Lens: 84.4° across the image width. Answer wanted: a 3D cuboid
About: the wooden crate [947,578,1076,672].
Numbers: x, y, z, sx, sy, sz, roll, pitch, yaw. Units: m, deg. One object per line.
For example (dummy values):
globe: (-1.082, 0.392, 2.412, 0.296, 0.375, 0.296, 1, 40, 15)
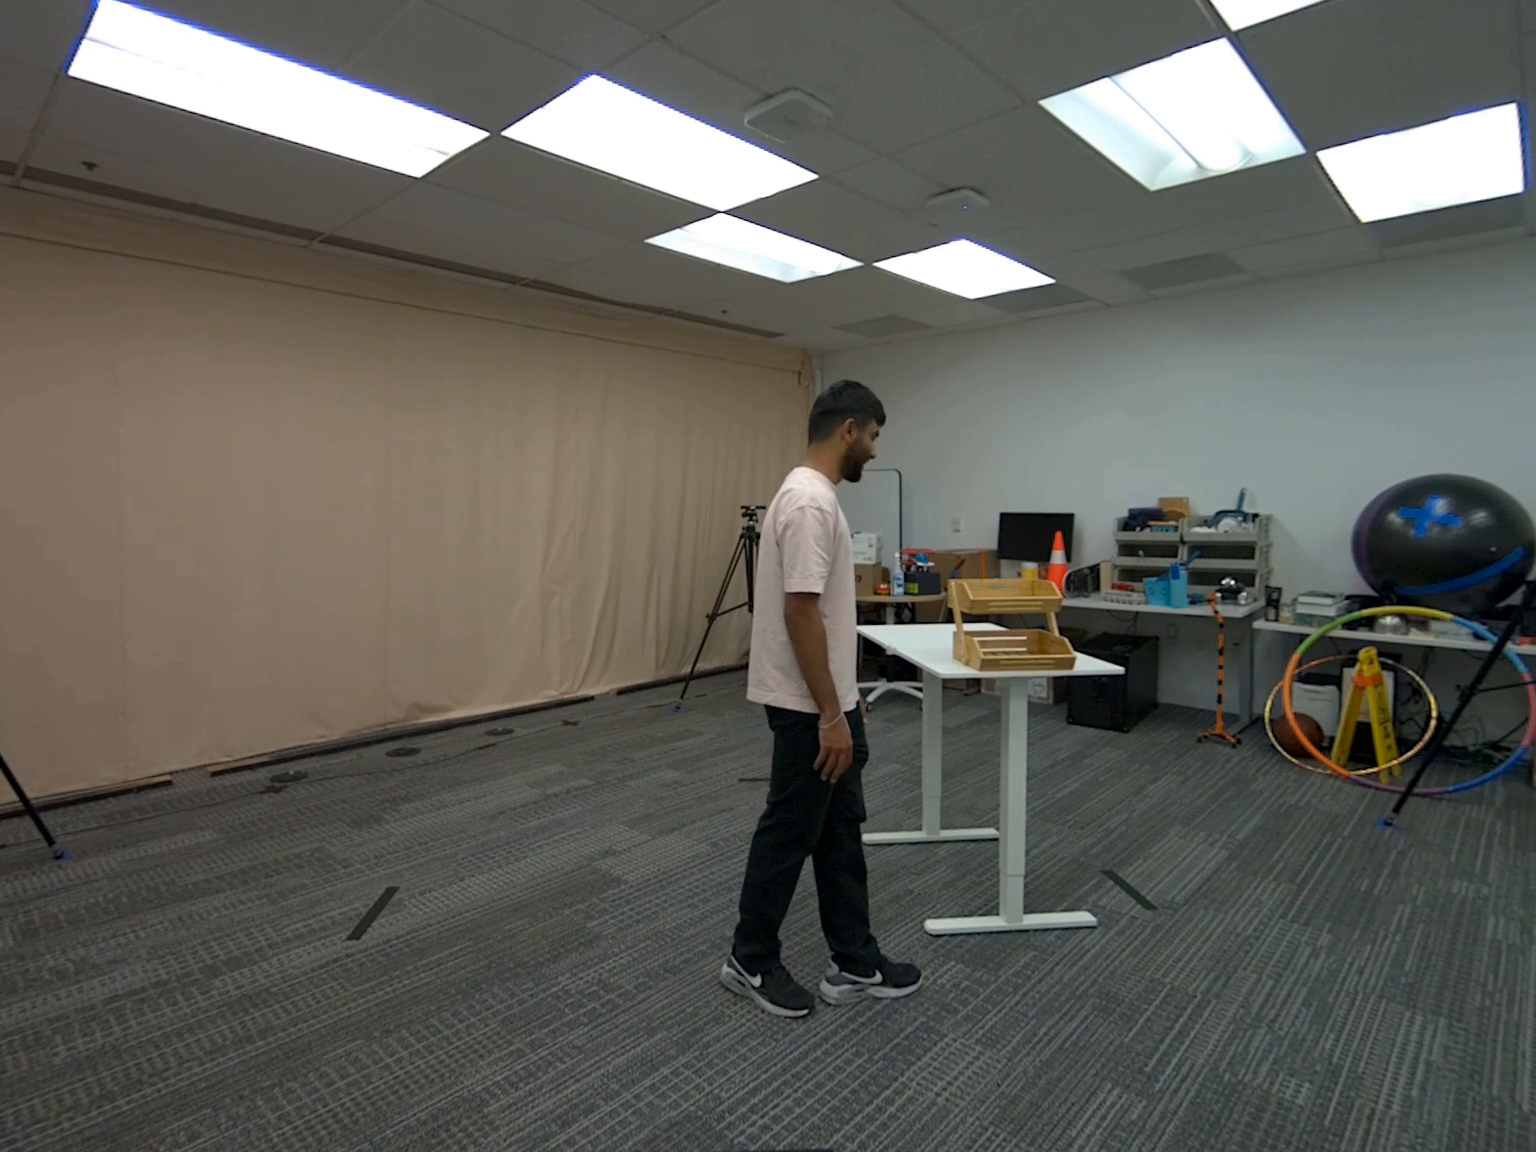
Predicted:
wooden crate: (0.798, 0.154, 2.716, 0.323, 0.273, 0.304, 0, 4, -6)
